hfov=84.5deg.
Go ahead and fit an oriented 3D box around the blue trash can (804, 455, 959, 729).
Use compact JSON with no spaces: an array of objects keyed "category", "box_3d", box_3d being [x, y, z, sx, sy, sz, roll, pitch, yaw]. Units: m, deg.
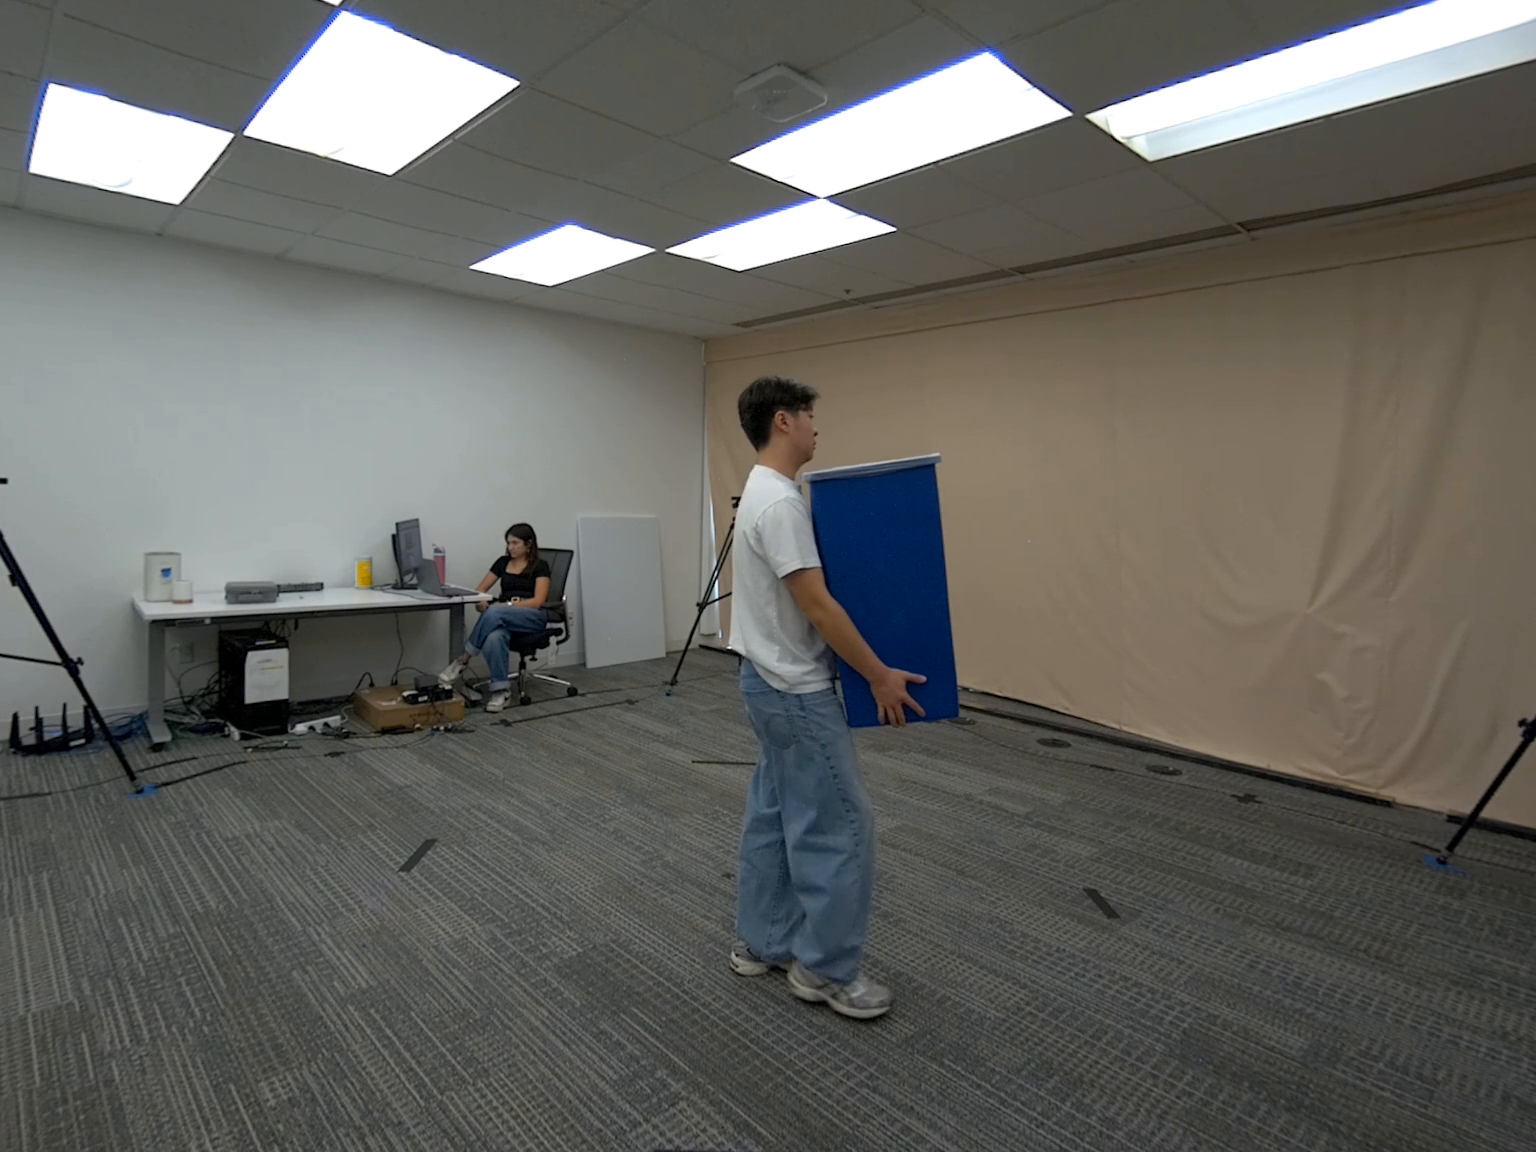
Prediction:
[{"category":"blue trash can","box_3d":[0.332,0.028,2.405,0.380,0.712,0.373,-8,3,6]}]
